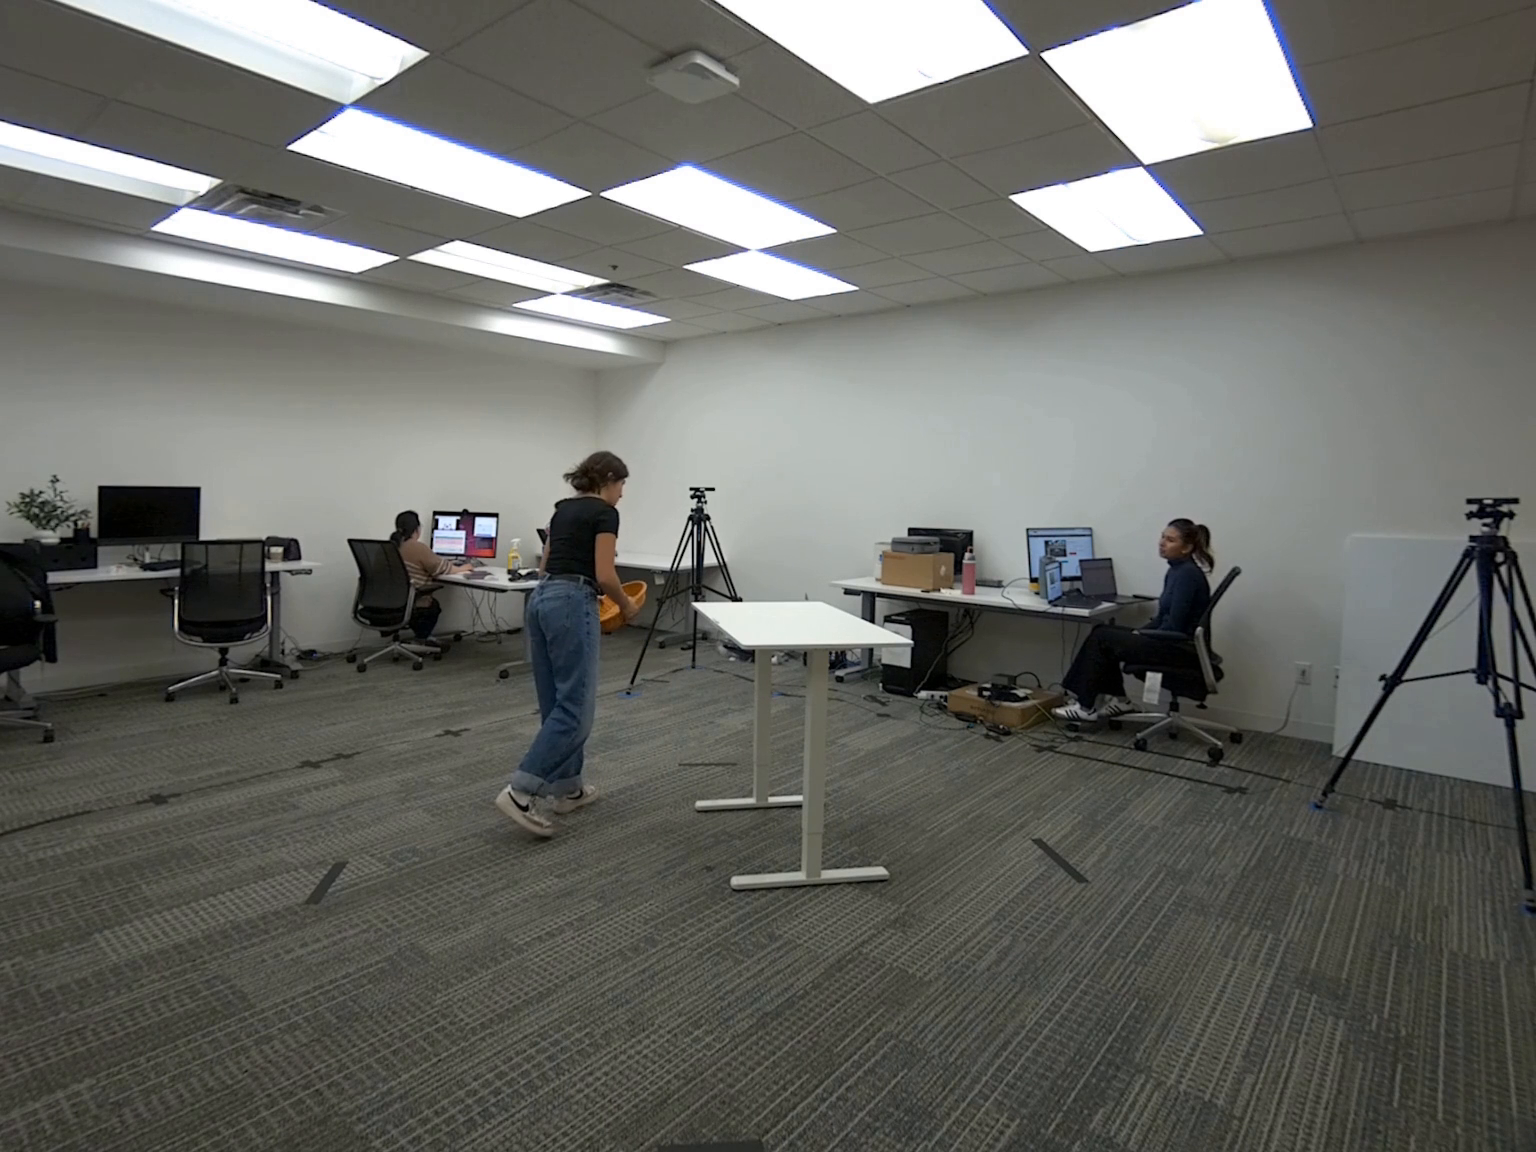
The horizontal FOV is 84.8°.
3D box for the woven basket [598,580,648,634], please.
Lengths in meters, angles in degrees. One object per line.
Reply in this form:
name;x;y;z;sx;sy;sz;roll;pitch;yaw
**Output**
woven basket;-0.705;0.143;3.846;0.349;0.071;0.261;-28;25;-10
